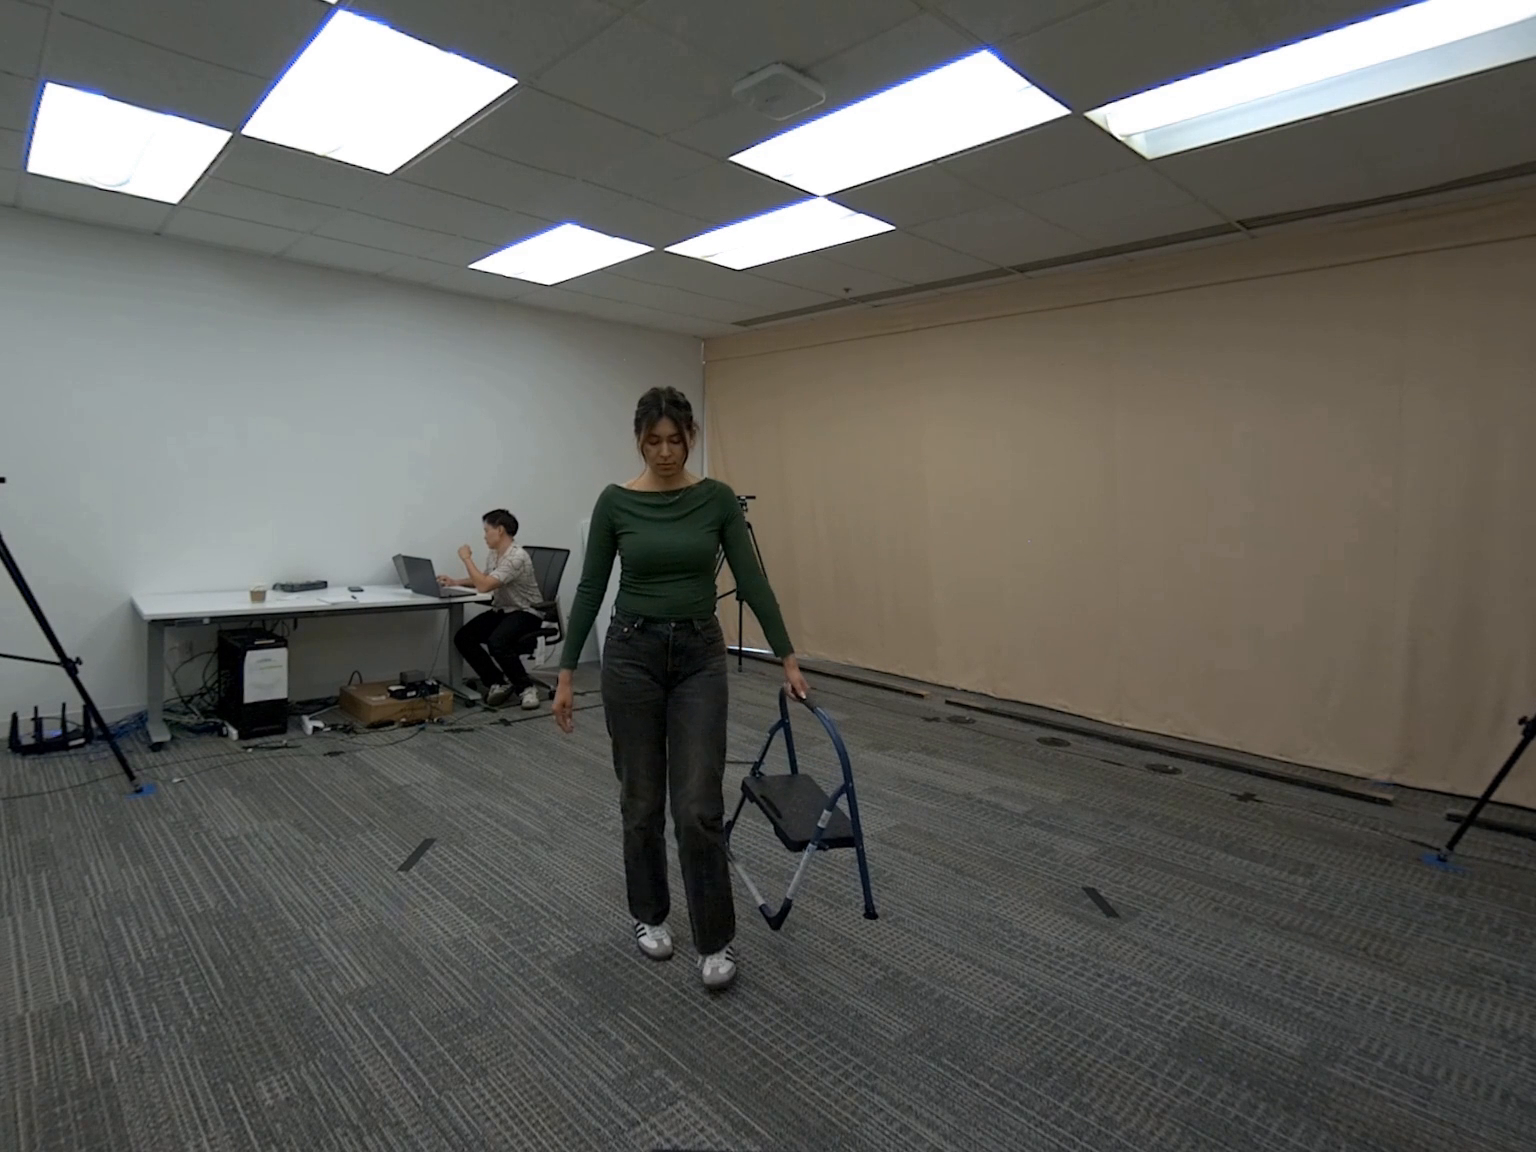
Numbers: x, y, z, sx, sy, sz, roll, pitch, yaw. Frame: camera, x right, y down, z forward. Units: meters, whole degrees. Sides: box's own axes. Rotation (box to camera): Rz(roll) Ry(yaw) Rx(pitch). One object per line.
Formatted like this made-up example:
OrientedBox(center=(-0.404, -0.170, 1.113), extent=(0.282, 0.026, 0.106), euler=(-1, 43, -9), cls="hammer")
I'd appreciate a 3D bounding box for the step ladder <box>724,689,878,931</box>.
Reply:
OrientedBox(center=(0.123, 0.645, 2.495), extent=(0.342, 0.601, 0.442), euler=(3, 14, -28), cls="step ladder")
